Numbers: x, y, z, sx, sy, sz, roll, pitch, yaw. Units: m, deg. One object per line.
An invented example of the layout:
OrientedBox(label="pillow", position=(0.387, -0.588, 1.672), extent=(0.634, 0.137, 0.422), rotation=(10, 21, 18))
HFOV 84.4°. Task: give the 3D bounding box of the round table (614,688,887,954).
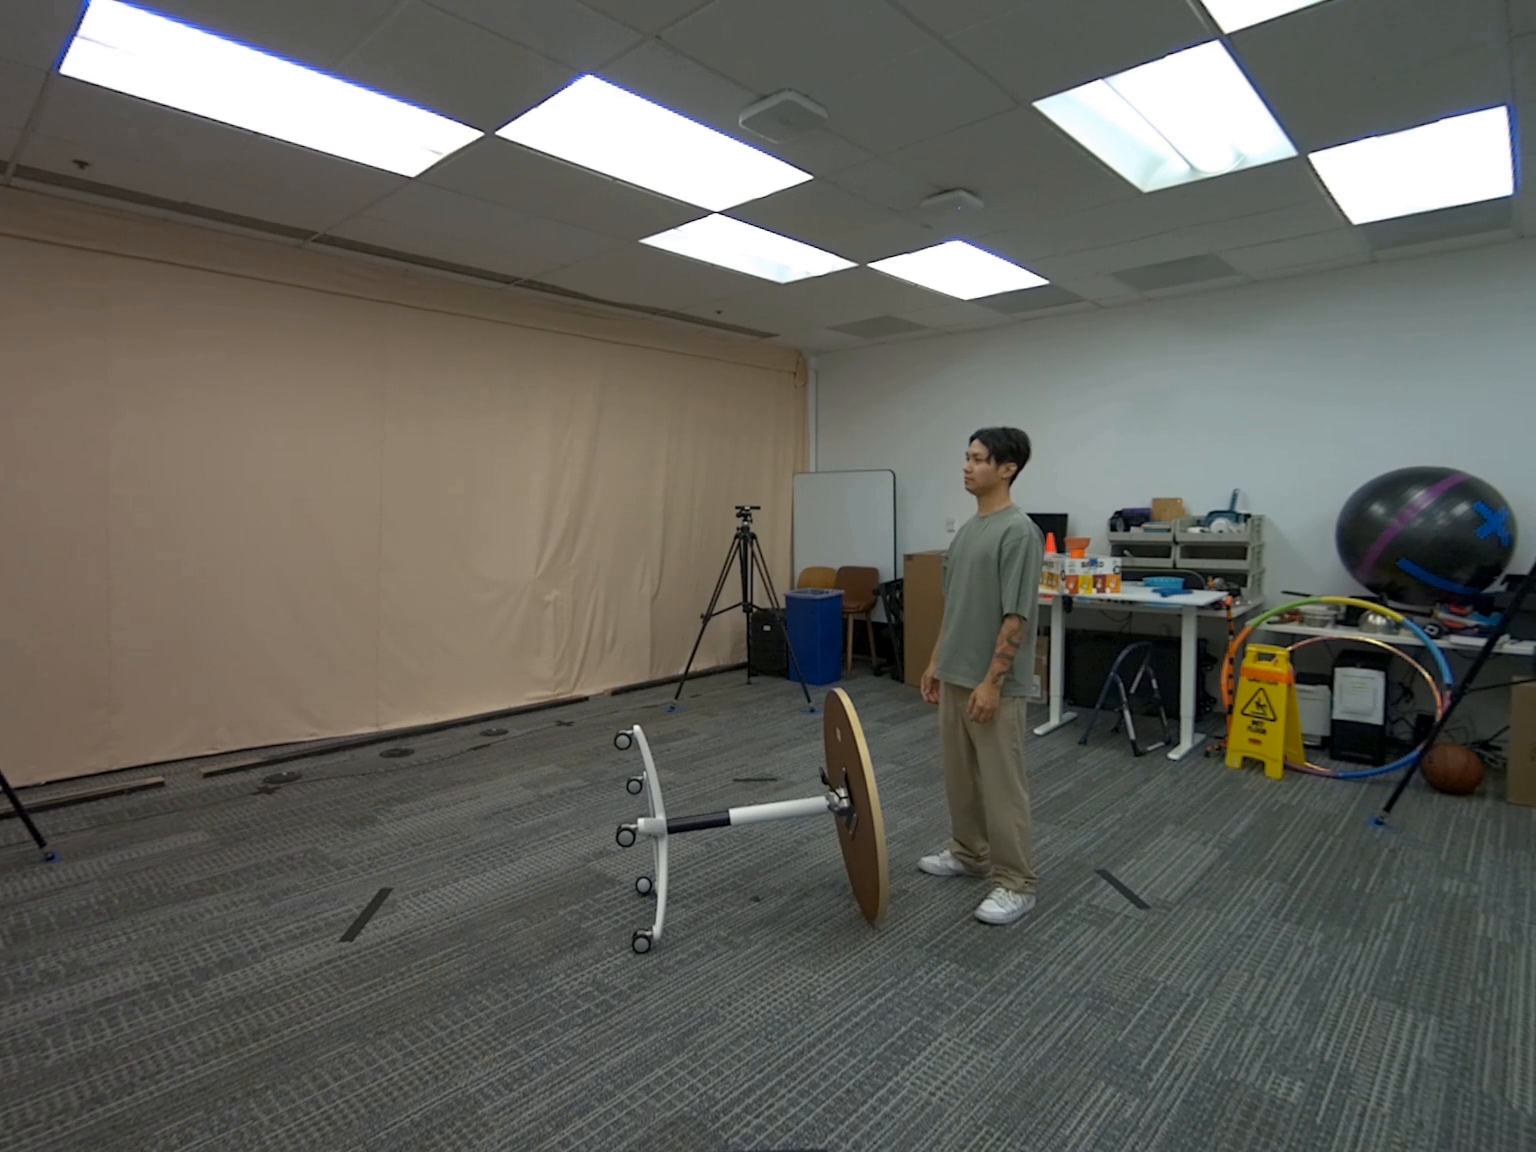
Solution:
OrientedBox(label="round table", position=(-0.088, 0.815, 2.855), extent=(0.782, 0.783, 0.792), rotation=(-7, 5, -7))
